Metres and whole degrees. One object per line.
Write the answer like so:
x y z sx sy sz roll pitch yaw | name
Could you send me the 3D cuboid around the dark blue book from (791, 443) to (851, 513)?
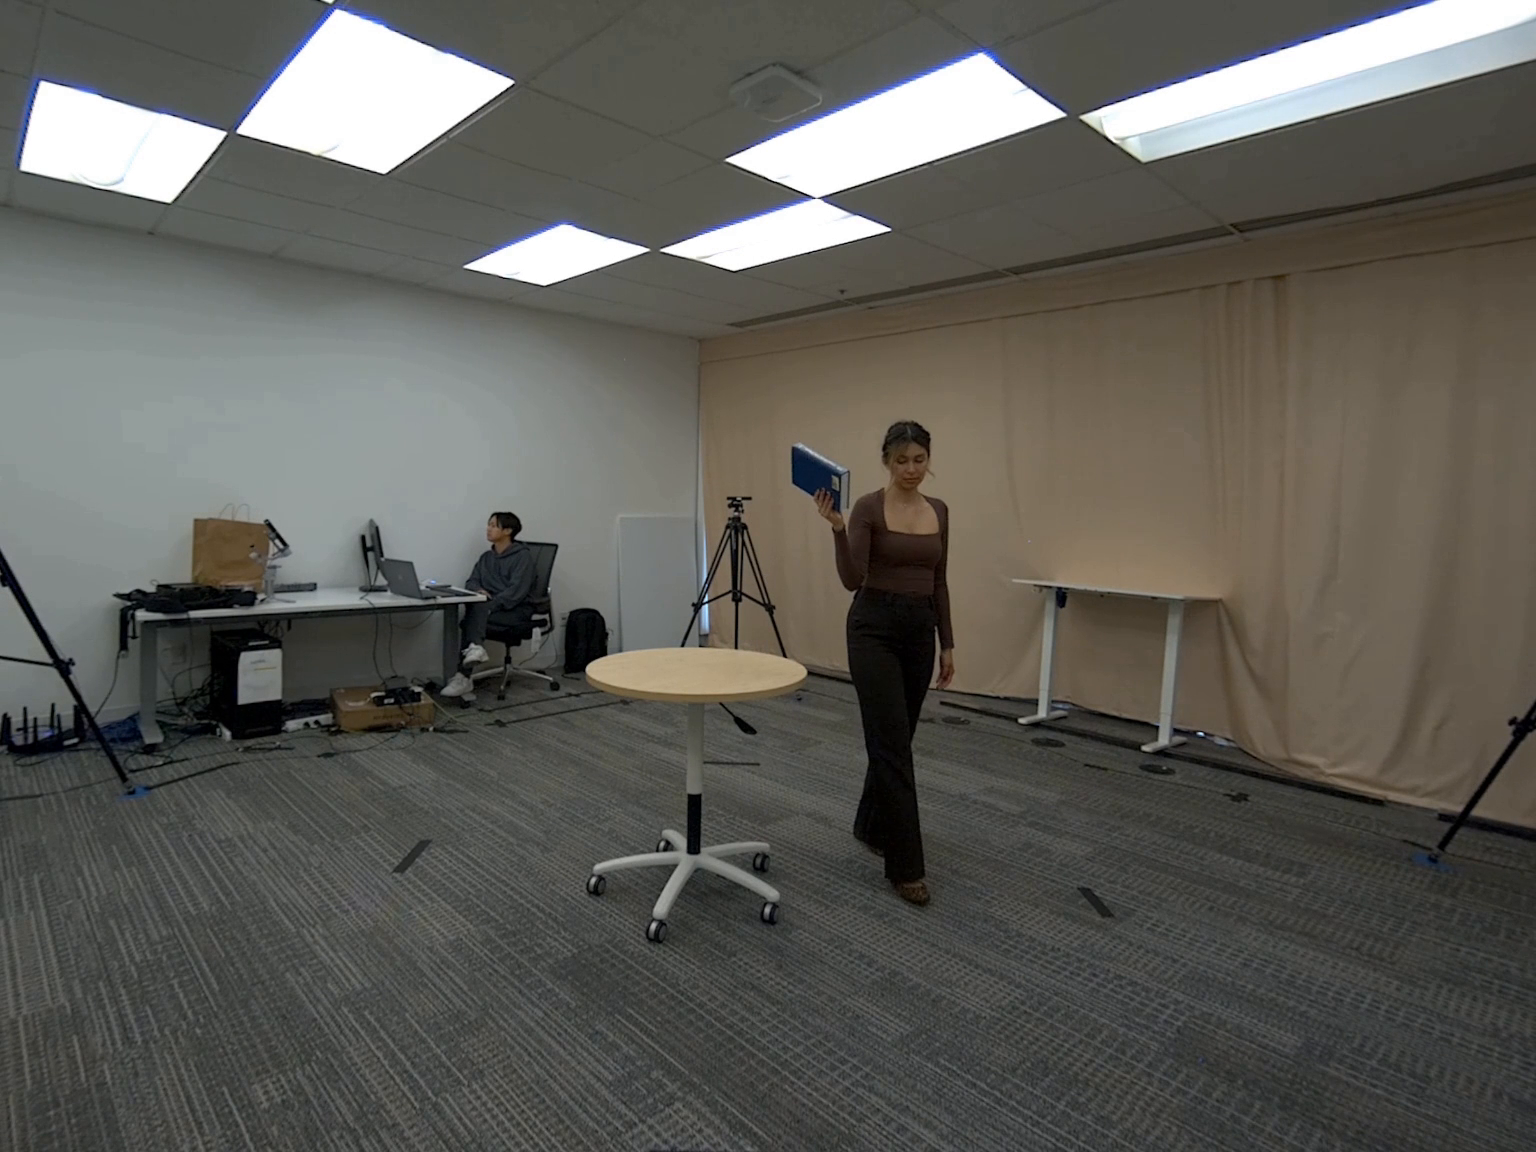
0.174 -0.344 2.934 0.045 0.159 0.253 -30 47 -28 | dark blue book
